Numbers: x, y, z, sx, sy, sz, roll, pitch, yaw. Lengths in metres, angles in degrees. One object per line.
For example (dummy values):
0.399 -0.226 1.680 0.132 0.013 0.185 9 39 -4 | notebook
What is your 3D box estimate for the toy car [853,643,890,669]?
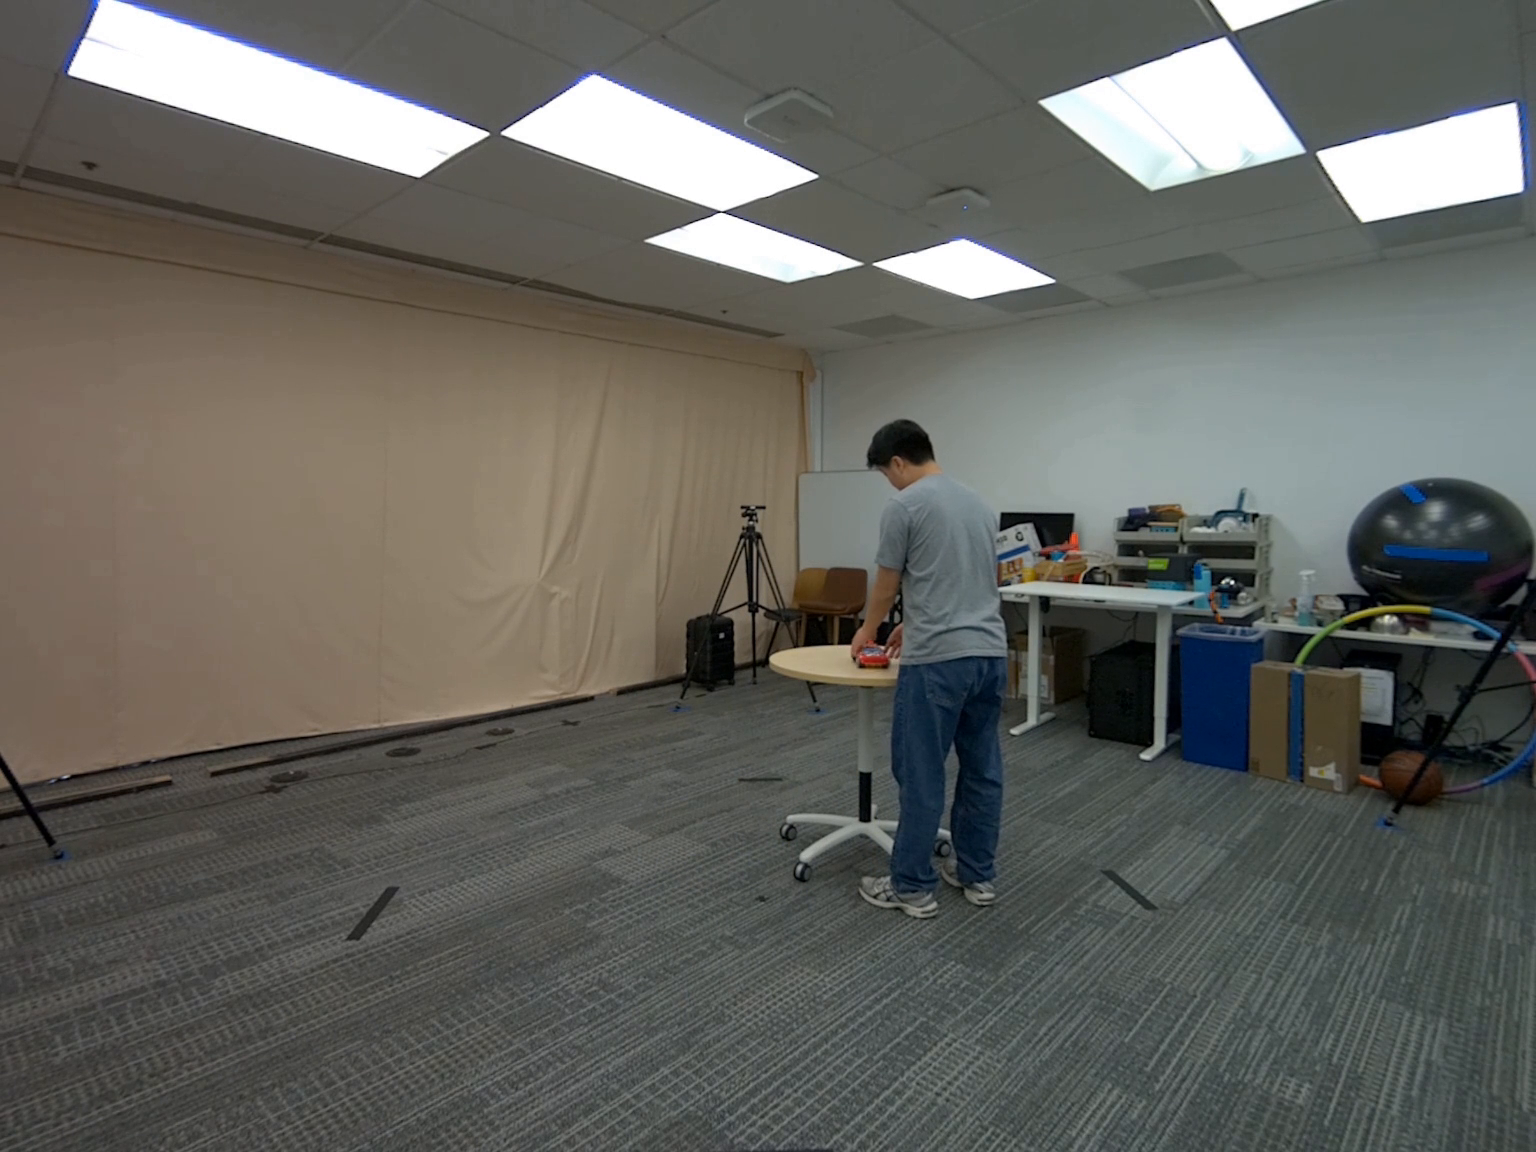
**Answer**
0.398 0.306 3.247 0.130 0.082 0.257 1 16 -4 | toy car
